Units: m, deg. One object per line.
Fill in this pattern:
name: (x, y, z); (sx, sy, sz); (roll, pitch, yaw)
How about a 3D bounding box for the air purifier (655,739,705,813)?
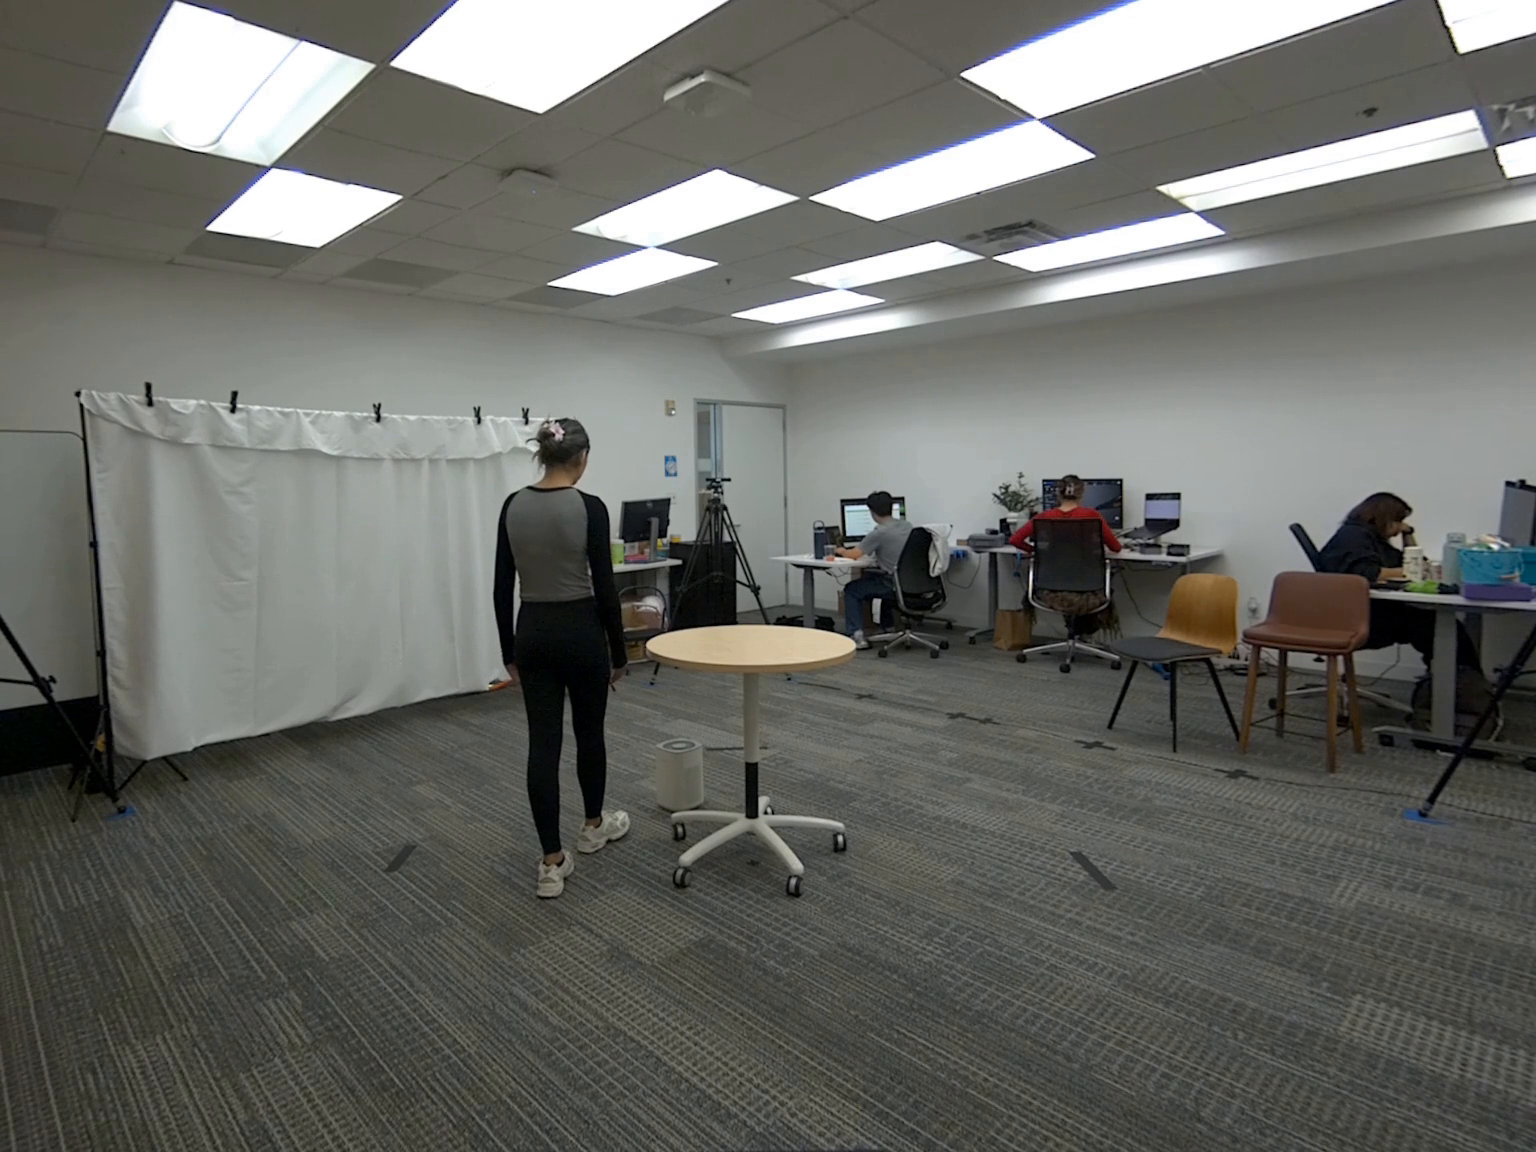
air purifier: (-0.376, 0.853, 3.660); (0.176, 0.264, 0.167); (2, 5, 41)
